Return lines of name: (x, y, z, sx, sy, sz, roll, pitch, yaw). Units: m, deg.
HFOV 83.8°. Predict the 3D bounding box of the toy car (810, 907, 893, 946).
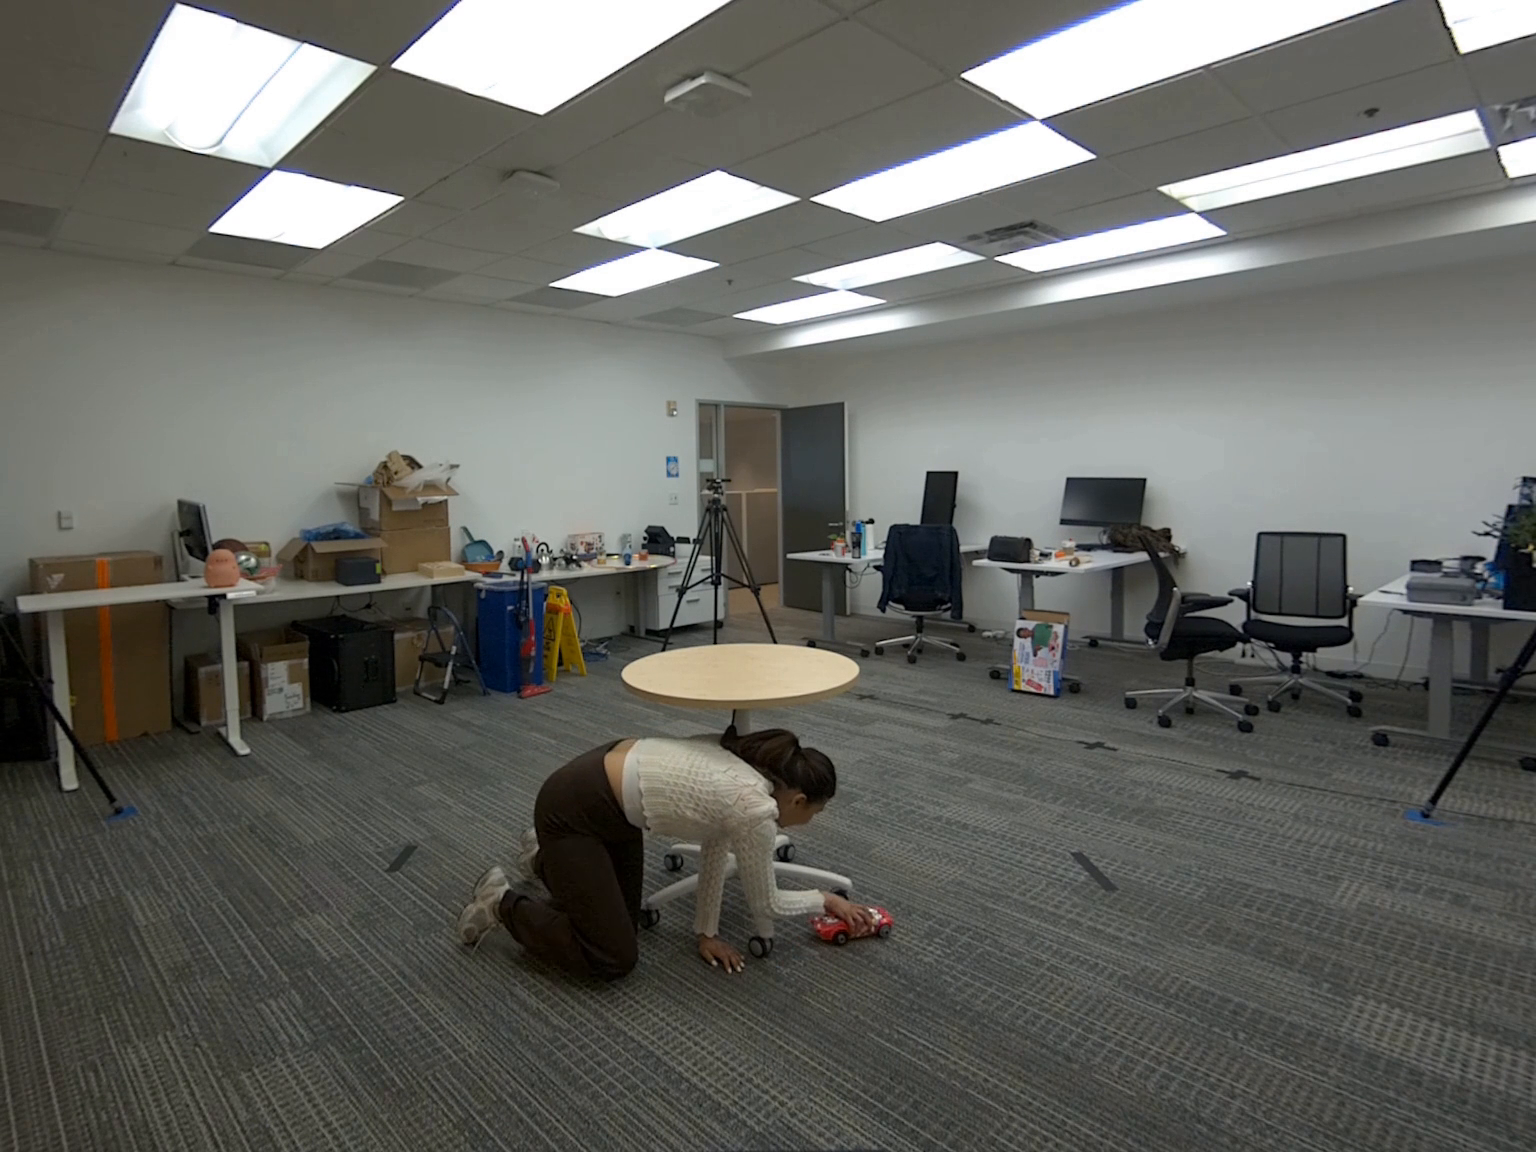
toy car: (0.239, 1.061, 2.615, 0.250, 0.083, 0.133, 7, 4, -16)
